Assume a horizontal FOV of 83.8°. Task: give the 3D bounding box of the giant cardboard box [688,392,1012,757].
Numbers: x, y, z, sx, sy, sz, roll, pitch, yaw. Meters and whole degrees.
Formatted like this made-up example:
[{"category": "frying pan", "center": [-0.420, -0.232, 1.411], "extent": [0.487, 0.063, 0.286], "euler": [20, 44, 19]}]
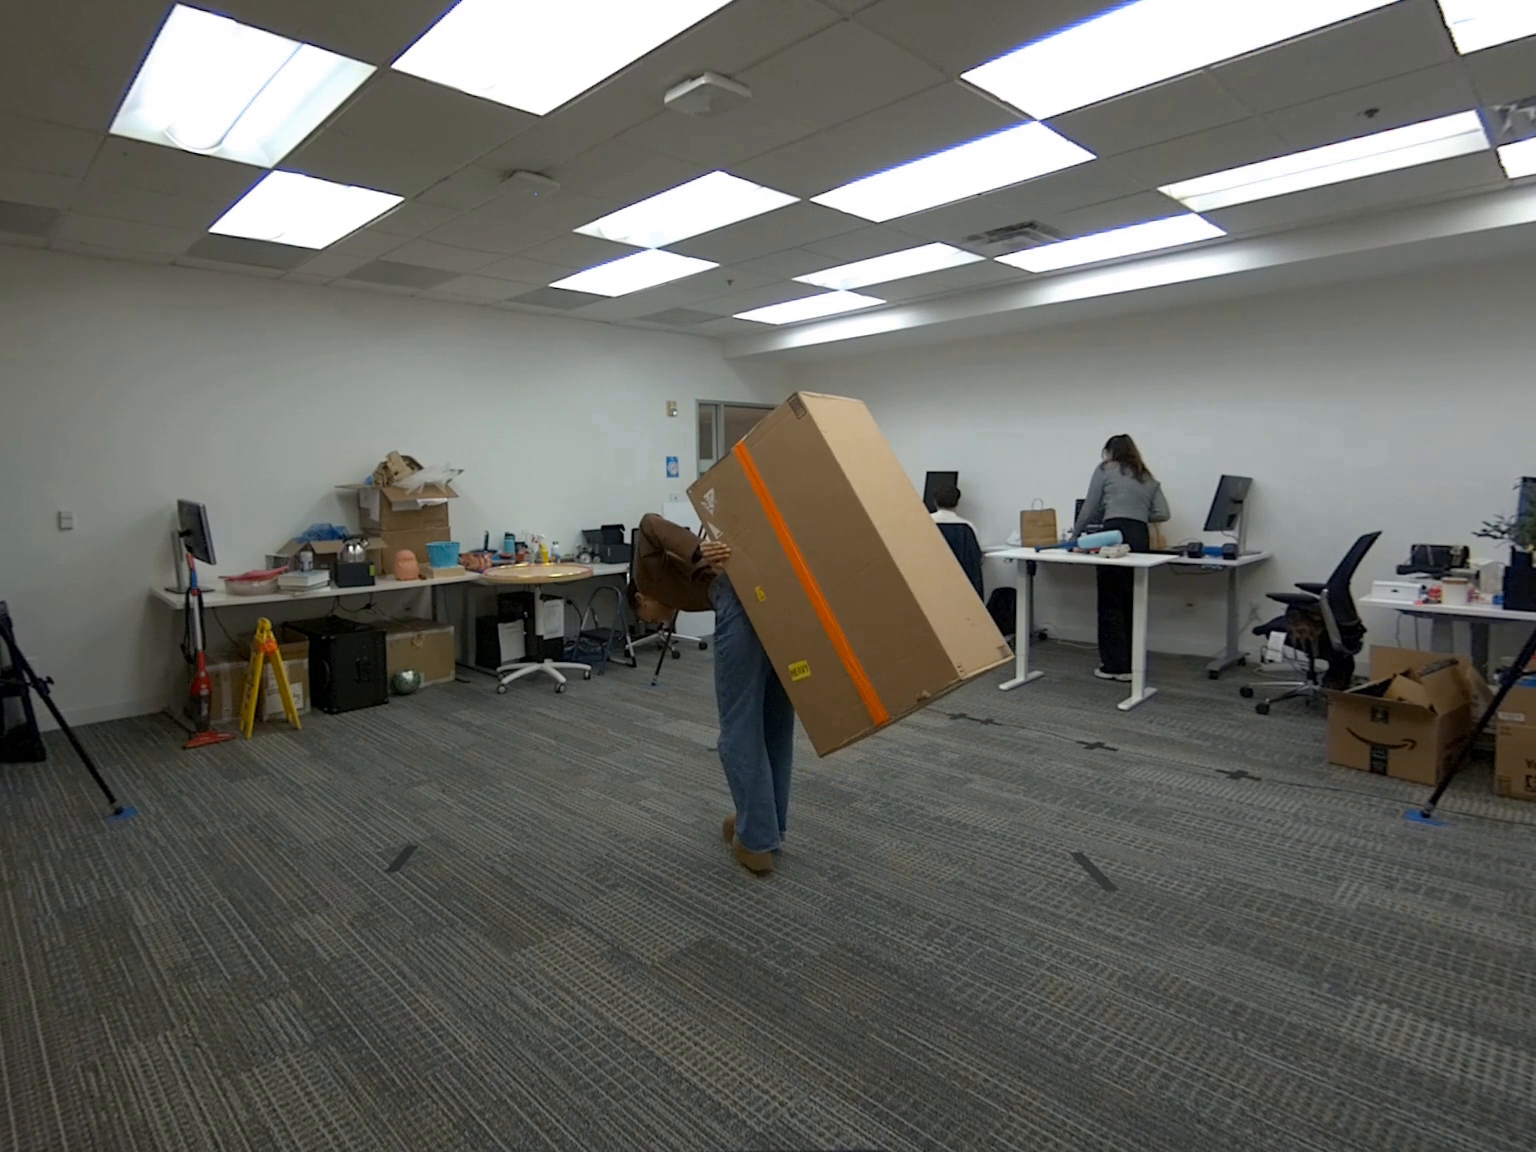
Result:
[{"category": "giant cardboard box", "center": [0.250, -0.012, 2.870], "extent": [0.587, 1.050, 0.435], "euler": [-38, -21, 32]}]
